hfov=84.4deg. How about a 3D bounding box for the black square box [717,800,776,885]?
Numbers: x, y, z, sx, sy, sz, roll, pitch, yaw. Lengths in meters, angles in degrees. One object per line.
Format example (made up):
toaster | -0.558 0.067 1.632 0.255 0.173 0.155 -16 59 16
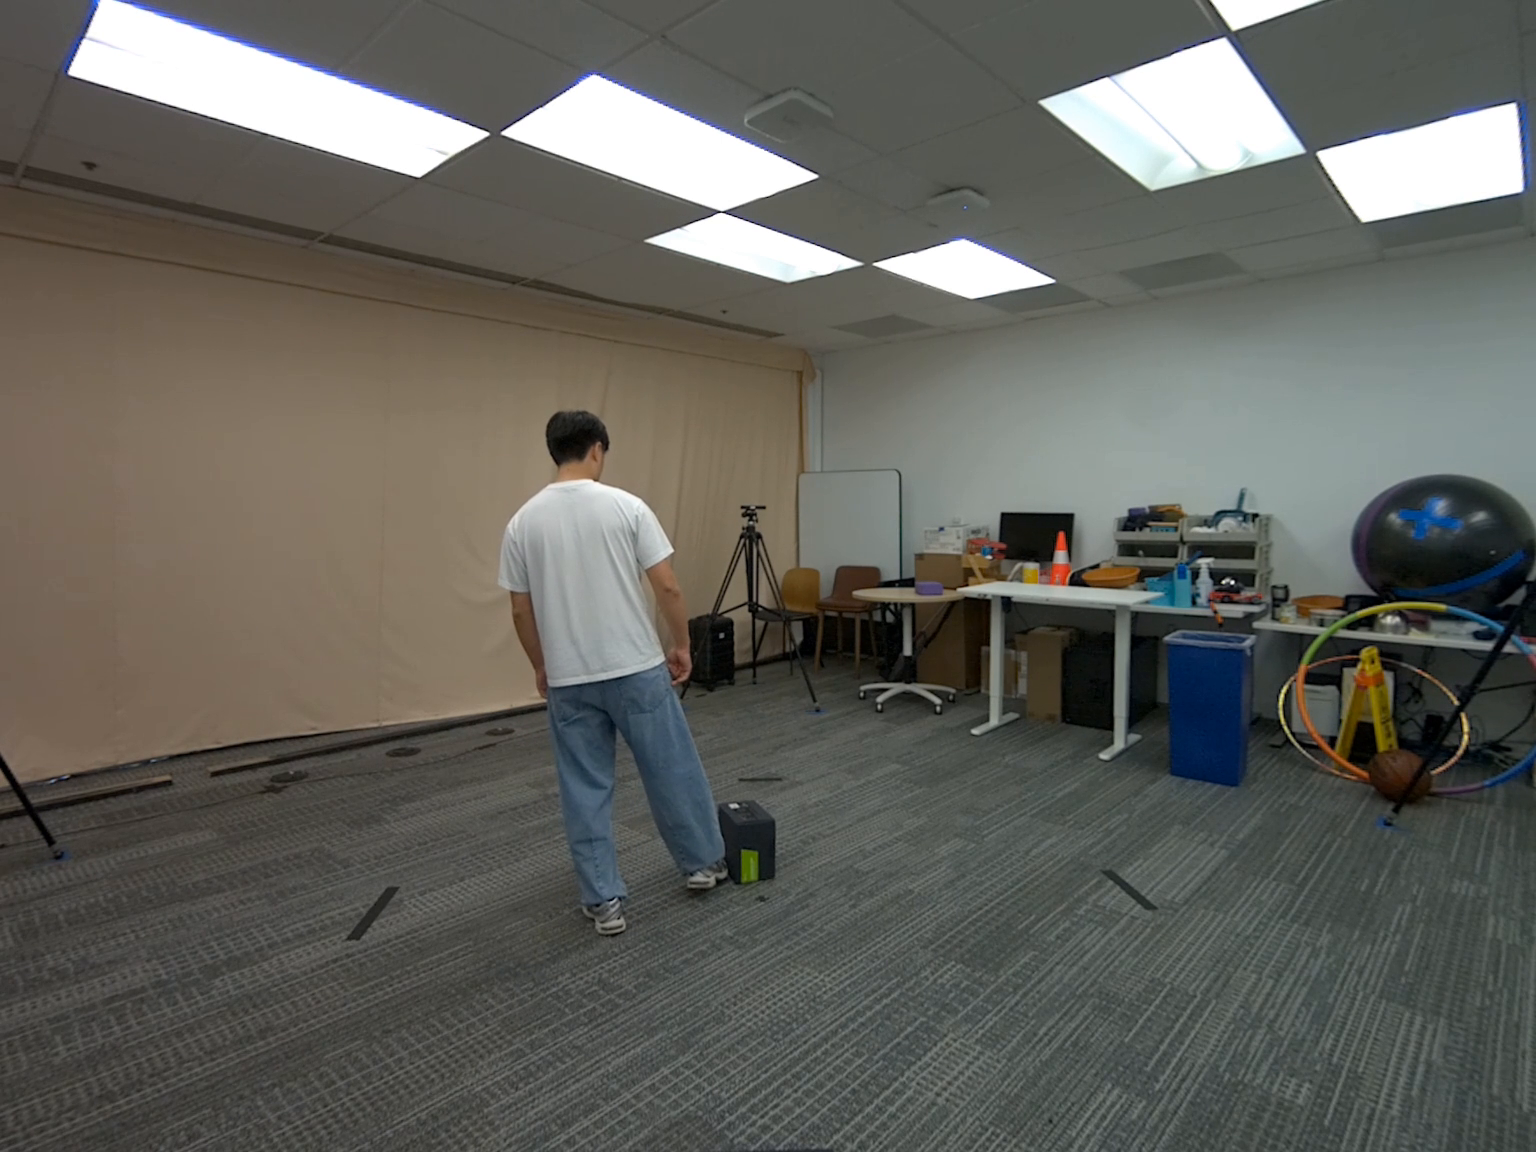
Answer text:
black square box | -0.084 1.003 3.204 0.153 0.227 0.222 0 4 -22
